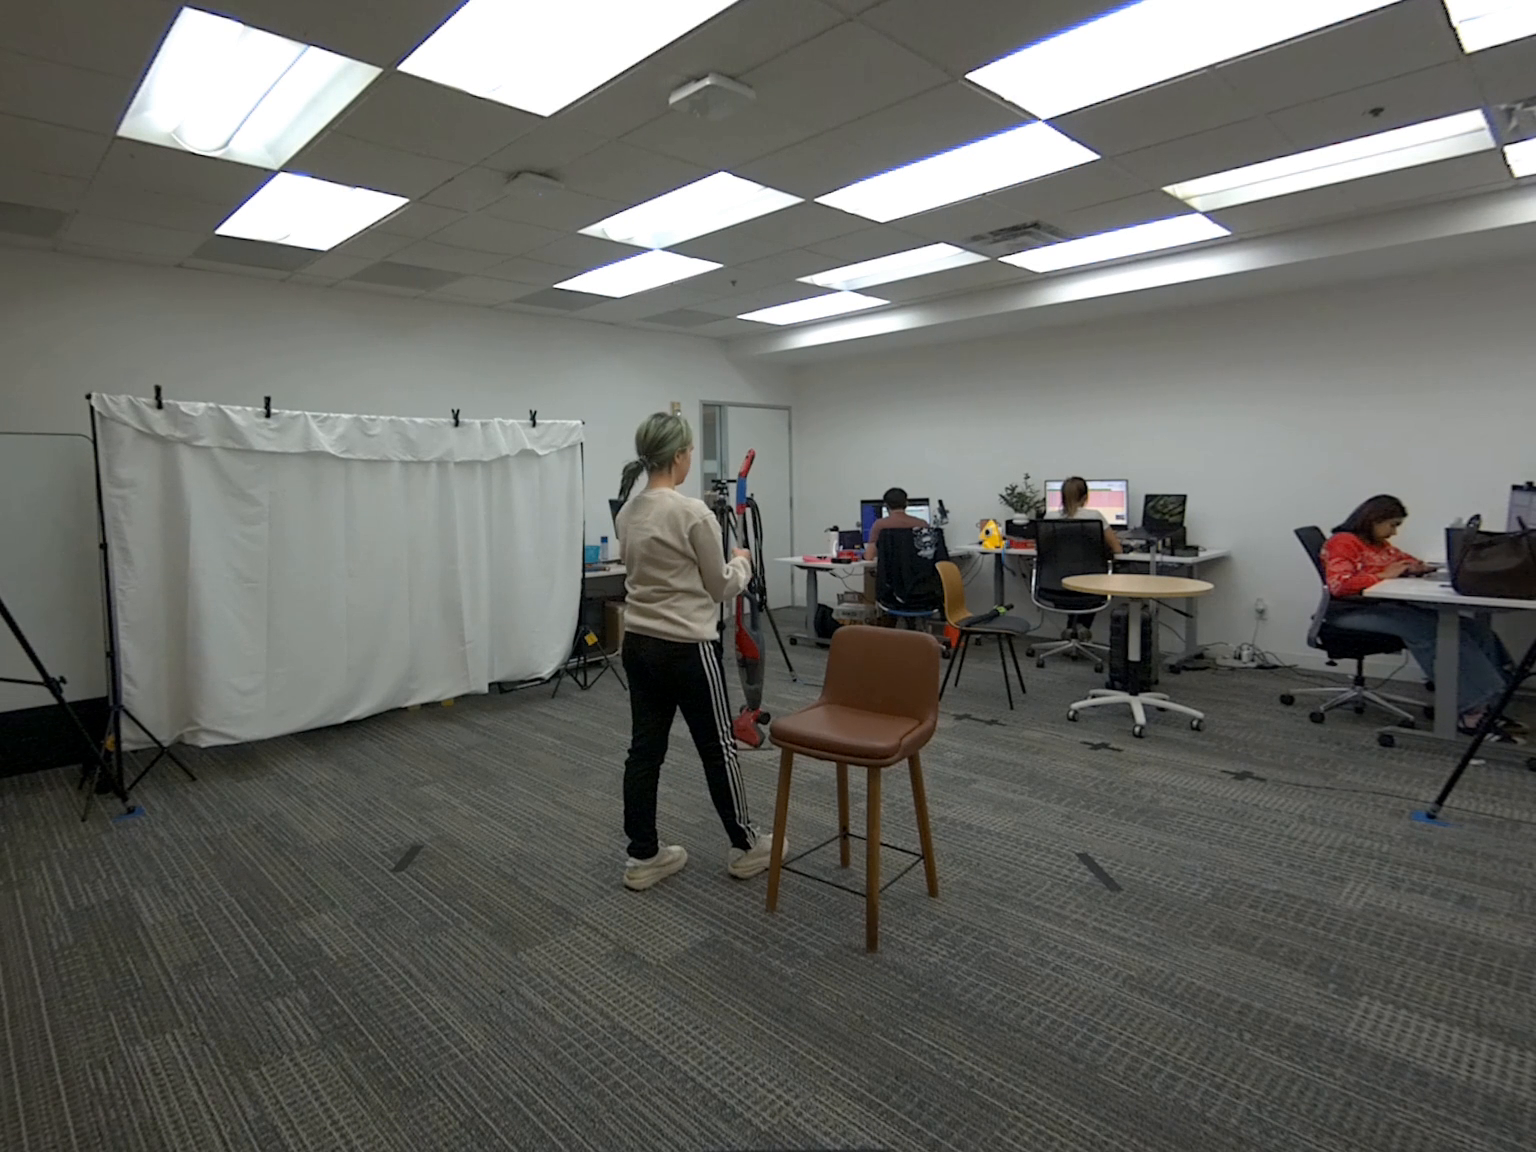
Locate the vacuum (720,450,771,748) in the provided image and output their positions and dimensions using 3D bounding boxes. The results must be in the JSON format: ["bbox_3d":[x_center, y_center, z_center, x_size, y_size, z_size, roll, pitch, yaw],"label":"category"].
[{"bbox_3d":[-0.064,0.059,3.248,0.140,1.045,0.260,-1,5,-35],"label":"vacuum"}]
